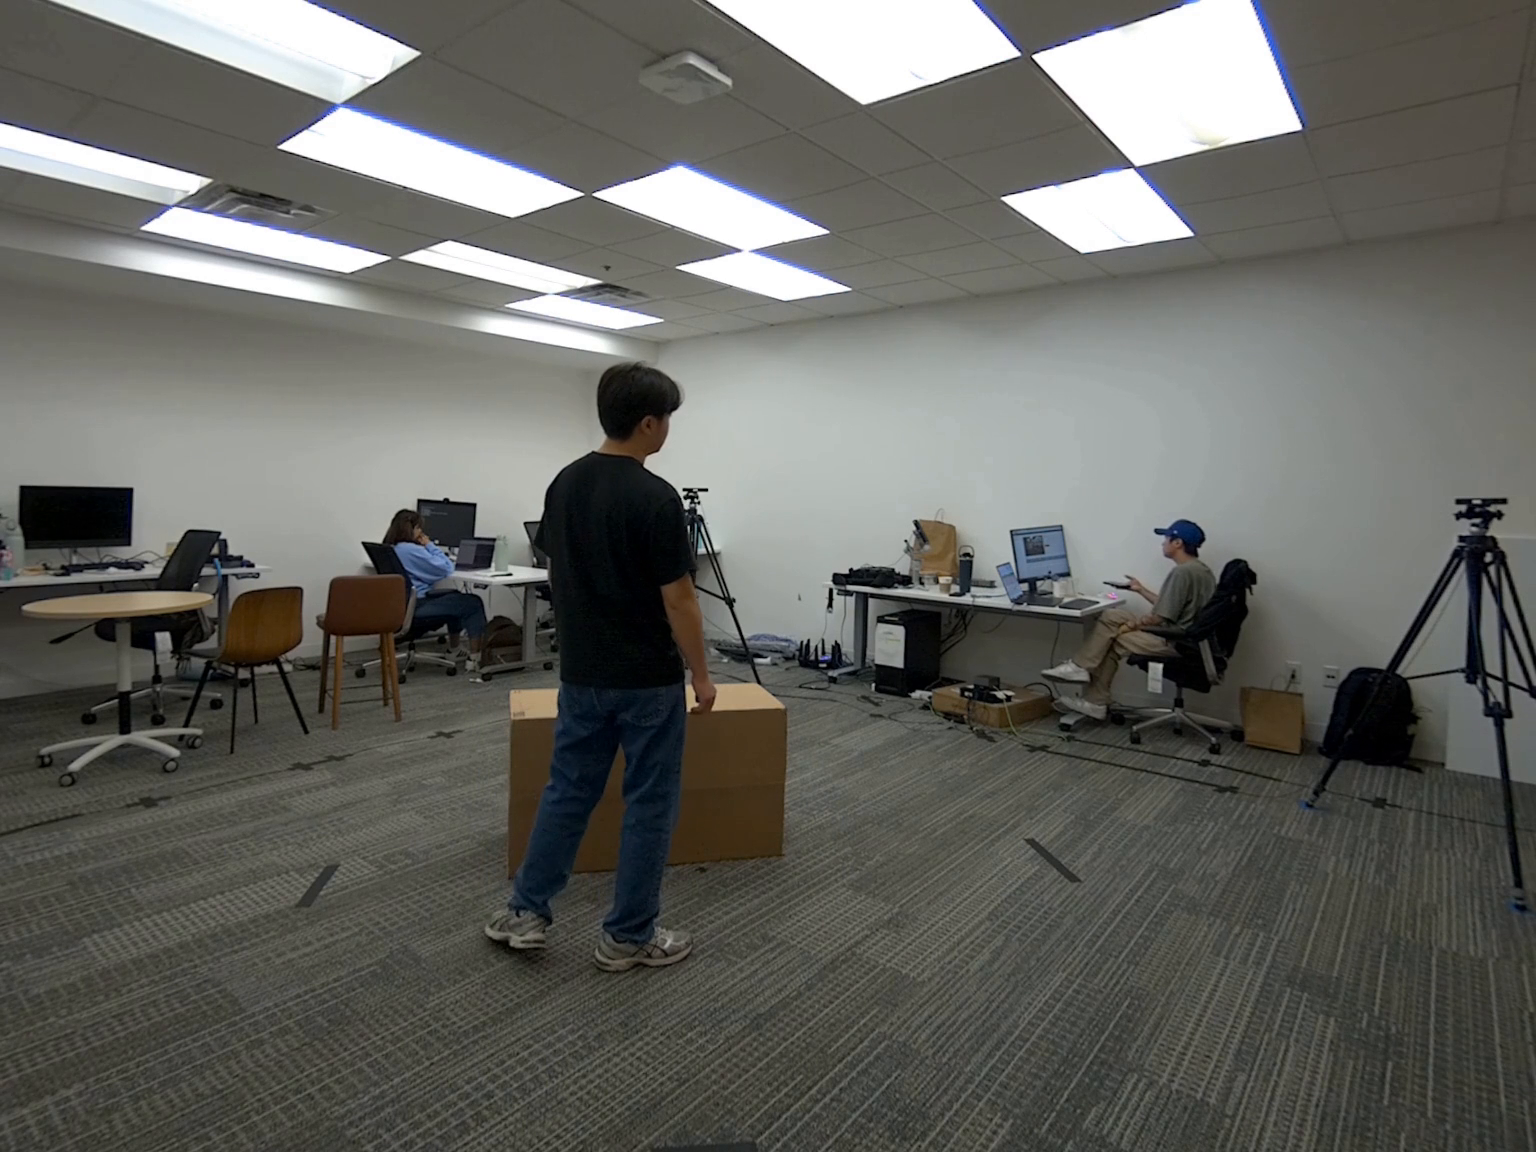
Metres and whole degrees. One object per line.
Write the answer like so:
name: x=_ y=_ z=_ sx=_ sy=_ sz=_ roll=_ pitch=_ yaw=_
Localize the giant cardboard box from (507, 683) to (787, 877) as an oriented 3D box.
giant cardboard box: x=-0.492 y=0.758 z=3.306 sx=1.011 sy=0.583 sz=0.455 roll=0 pitch=3 yaw=-15
